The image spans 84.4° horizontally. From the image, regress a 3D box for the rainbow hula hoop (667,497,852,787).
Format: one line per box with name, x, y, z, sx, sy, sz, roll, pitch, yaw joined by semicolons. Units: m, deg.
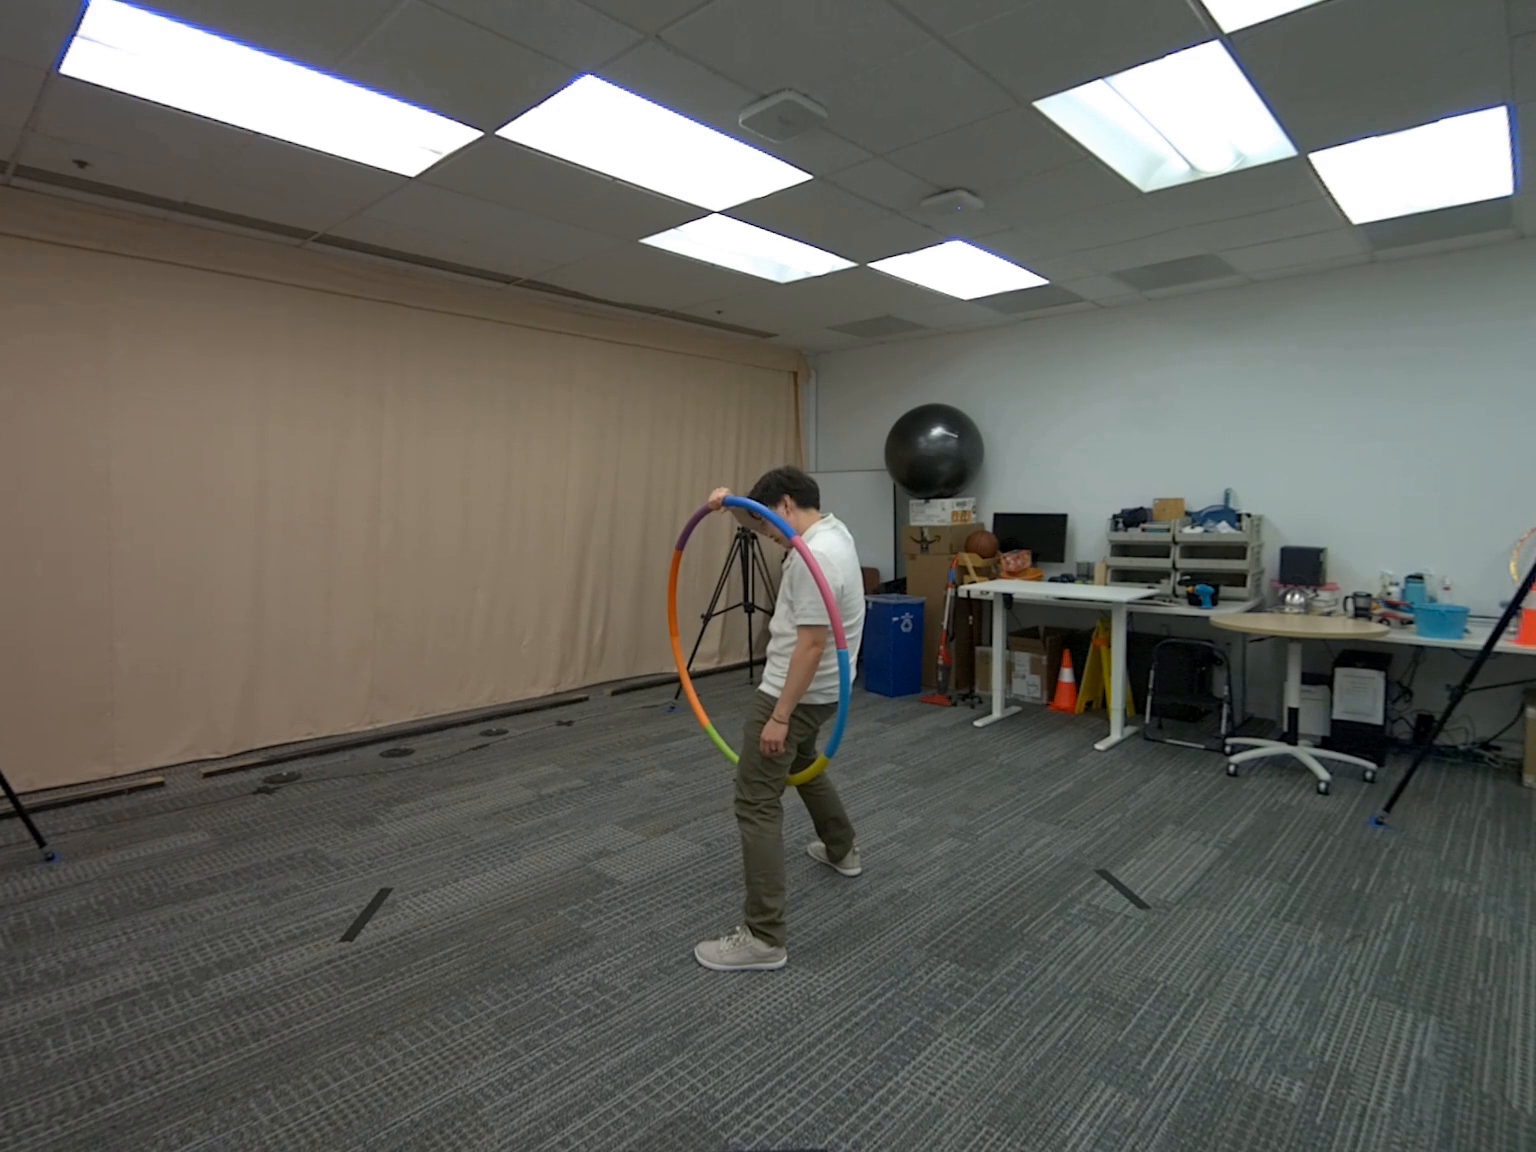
rainbow hula hoop;-0.066;0.217;2.866;0.034;0.973;1.010;-11;10;-36
